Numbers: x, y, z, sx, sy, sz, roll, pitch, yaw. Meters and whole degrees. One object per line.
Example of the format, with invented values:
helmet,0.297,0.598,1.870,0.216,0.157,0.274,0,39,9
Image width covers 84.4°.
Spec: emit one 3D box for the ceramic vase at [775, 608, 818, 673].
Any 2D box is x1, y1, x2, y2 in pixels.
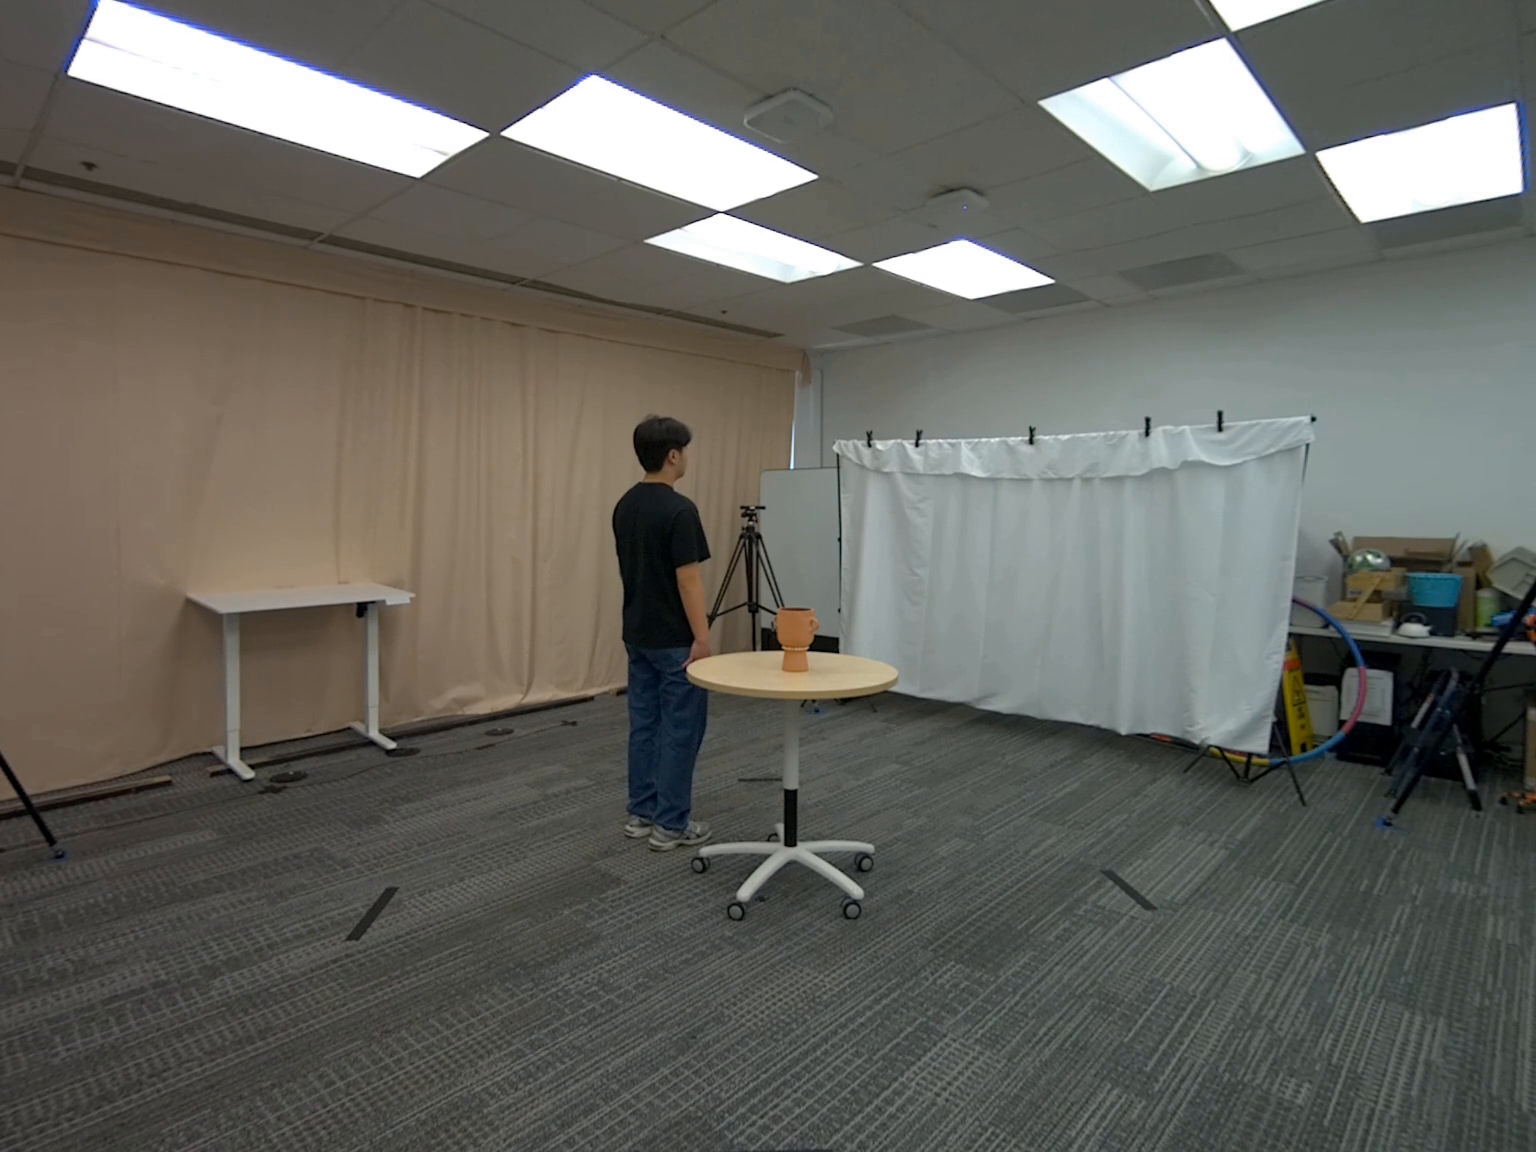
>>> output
ceramic vase,0.106,0.232,3.050,0.133,0.219,0.161,-1,3,-13
